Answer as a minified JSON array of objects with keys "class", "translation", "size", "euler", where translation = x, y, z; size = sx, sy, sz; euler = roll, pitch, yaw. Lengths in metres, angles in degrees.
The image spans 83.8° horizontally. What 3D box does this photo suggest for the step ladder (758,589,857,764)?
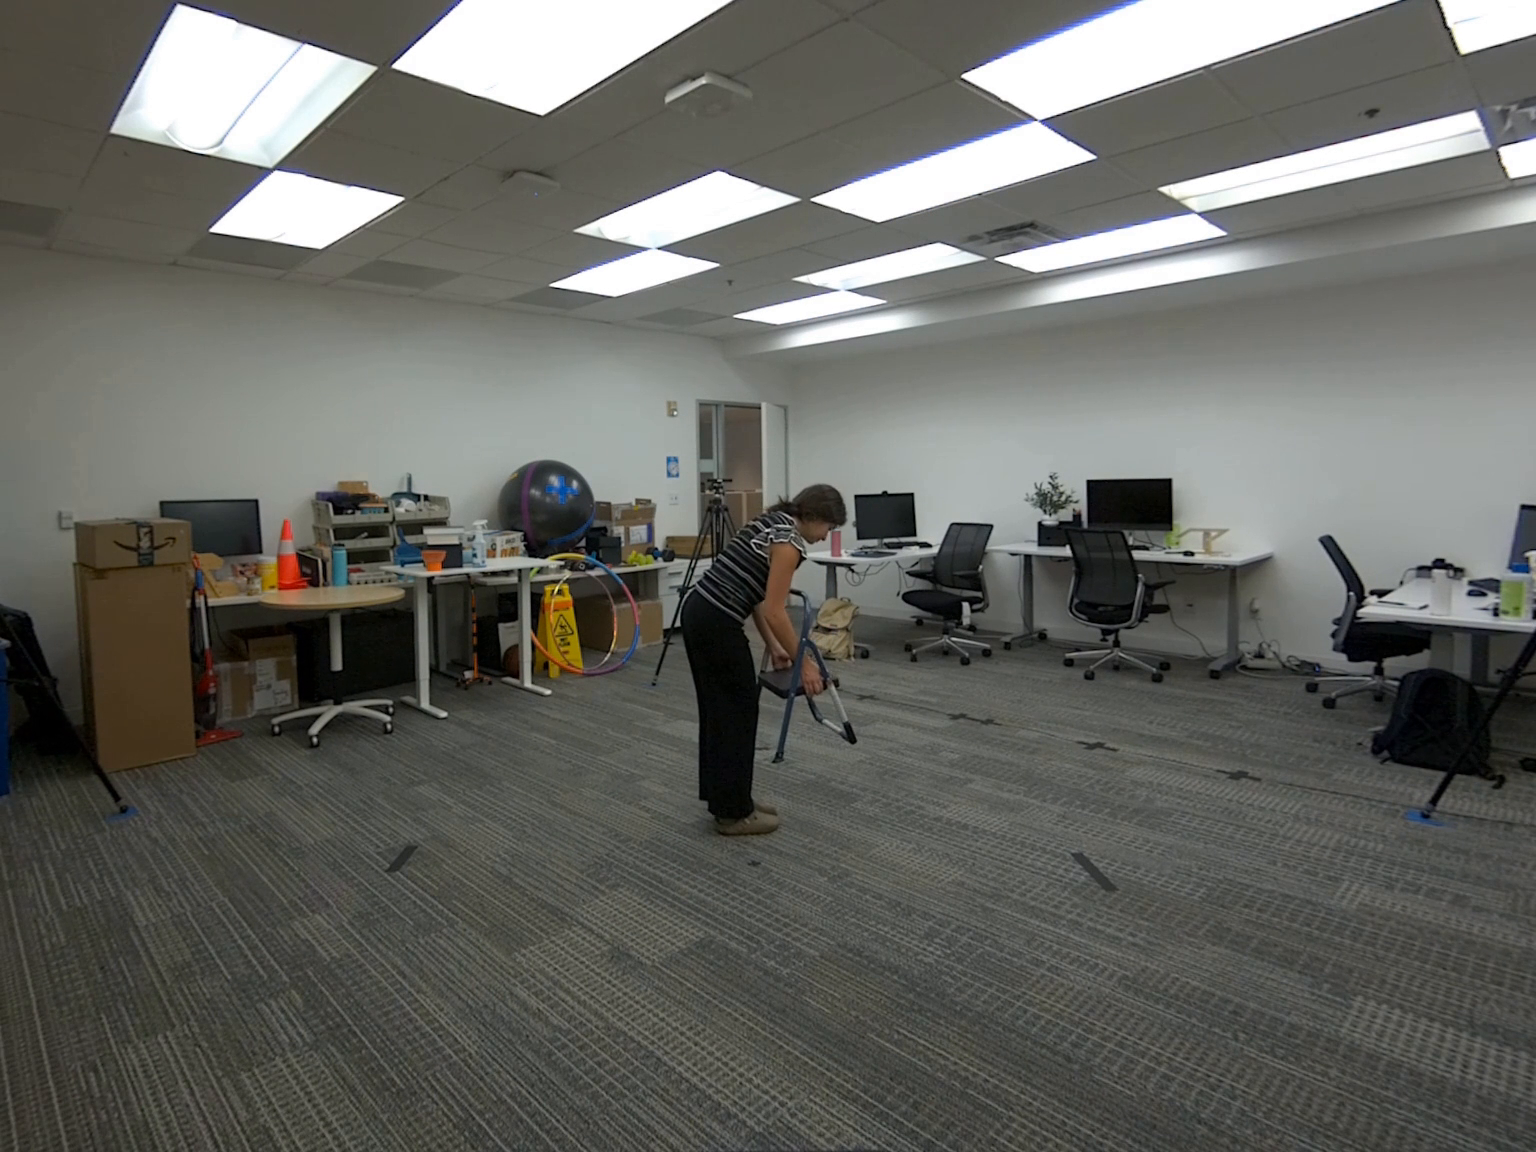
[{"class":"step ladder","translation":[0.084,0.373,3.460],"size":[0.345,0.603,0.438],"euler":[-9,5,-17]}]
